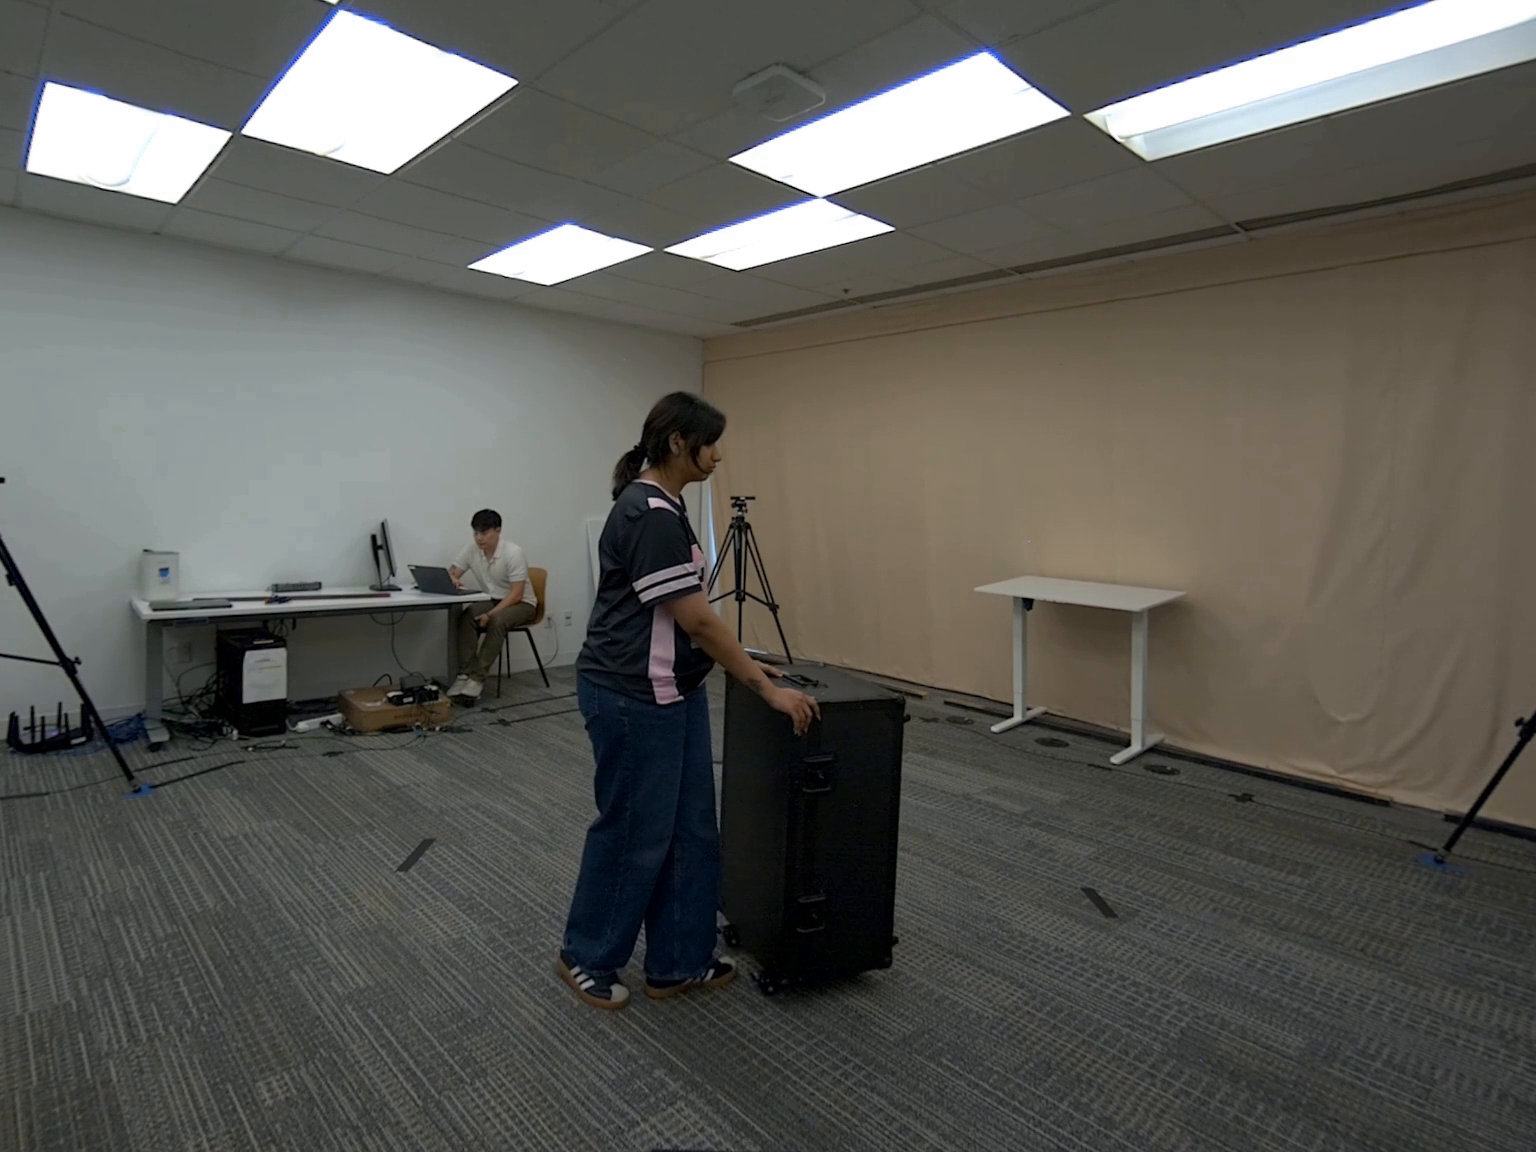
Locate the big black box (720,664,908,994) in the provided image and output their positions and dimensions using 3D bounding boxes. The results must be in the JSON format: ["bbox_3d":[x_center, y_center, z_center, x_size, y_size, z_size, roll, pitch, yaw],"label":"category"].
[{"bbox_3d":[0.110,0.742,2.537,0.378,0.866,0.534,1,4,-25],"label":"big black box"}]
